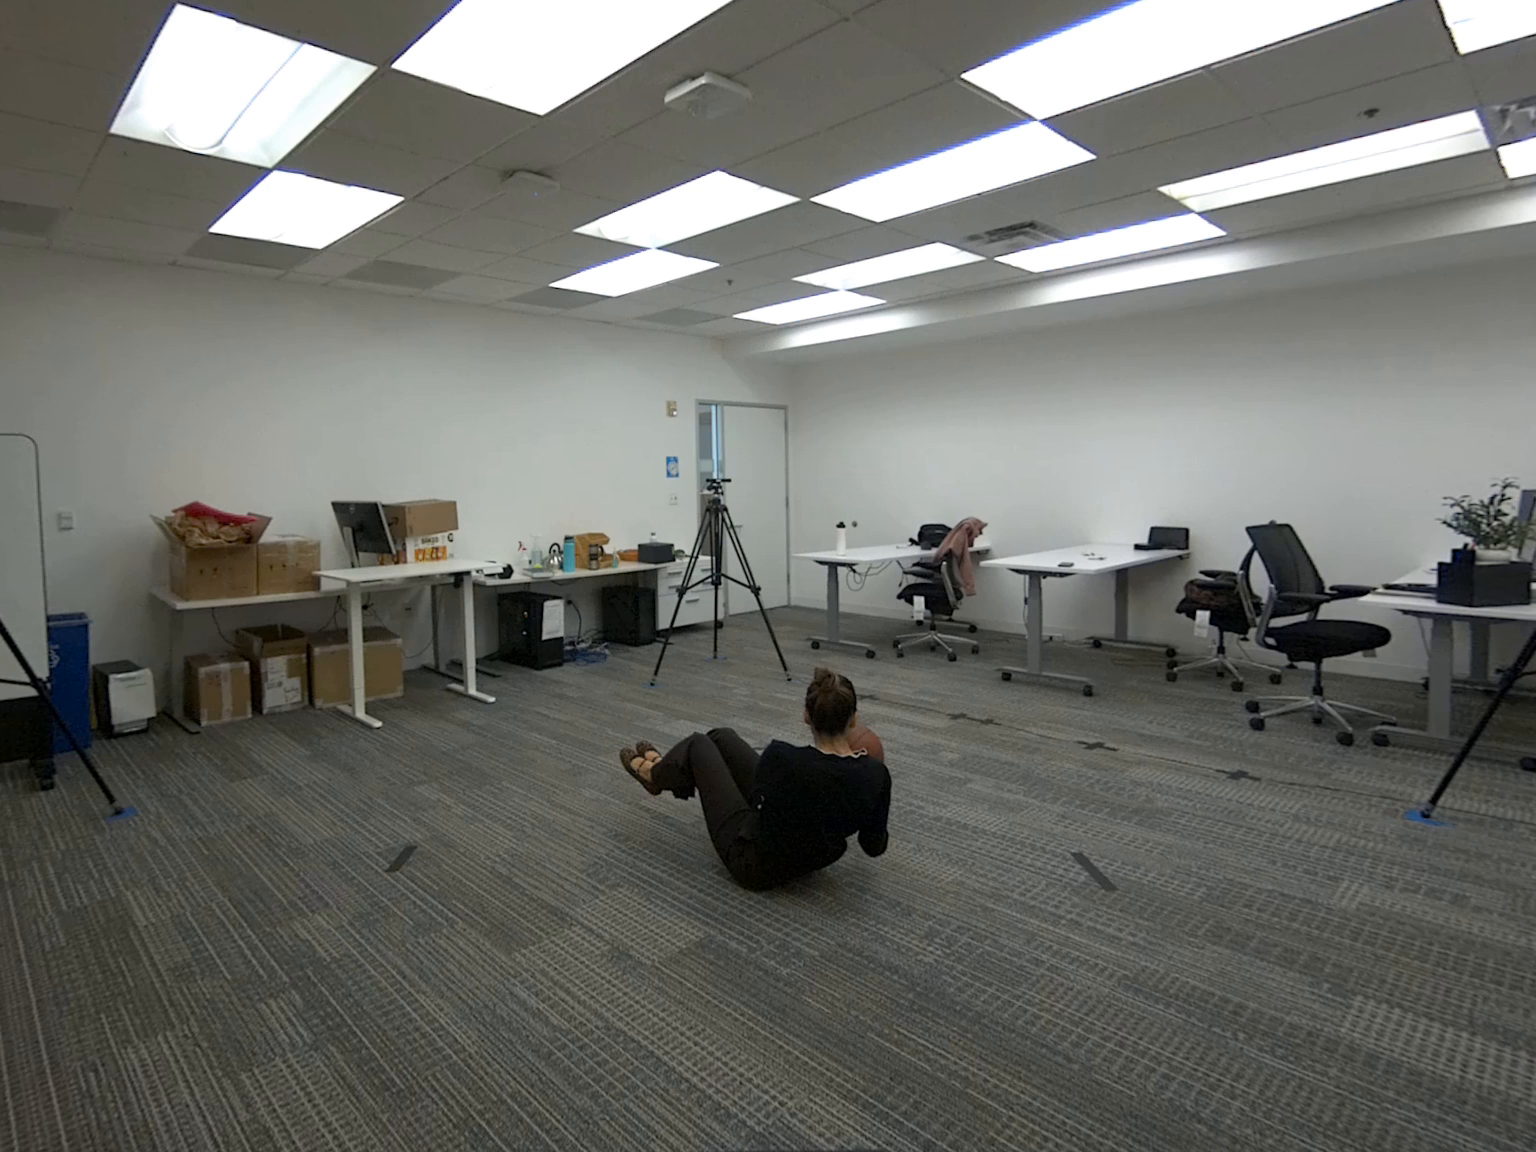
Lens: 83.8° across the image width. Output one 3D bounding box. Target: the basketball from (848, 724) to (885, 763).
[{"bbox_3d":[0.318,0.673,3.231,0.236,0.235,0.237,-1,5,-2],"label":"basketball"}]
